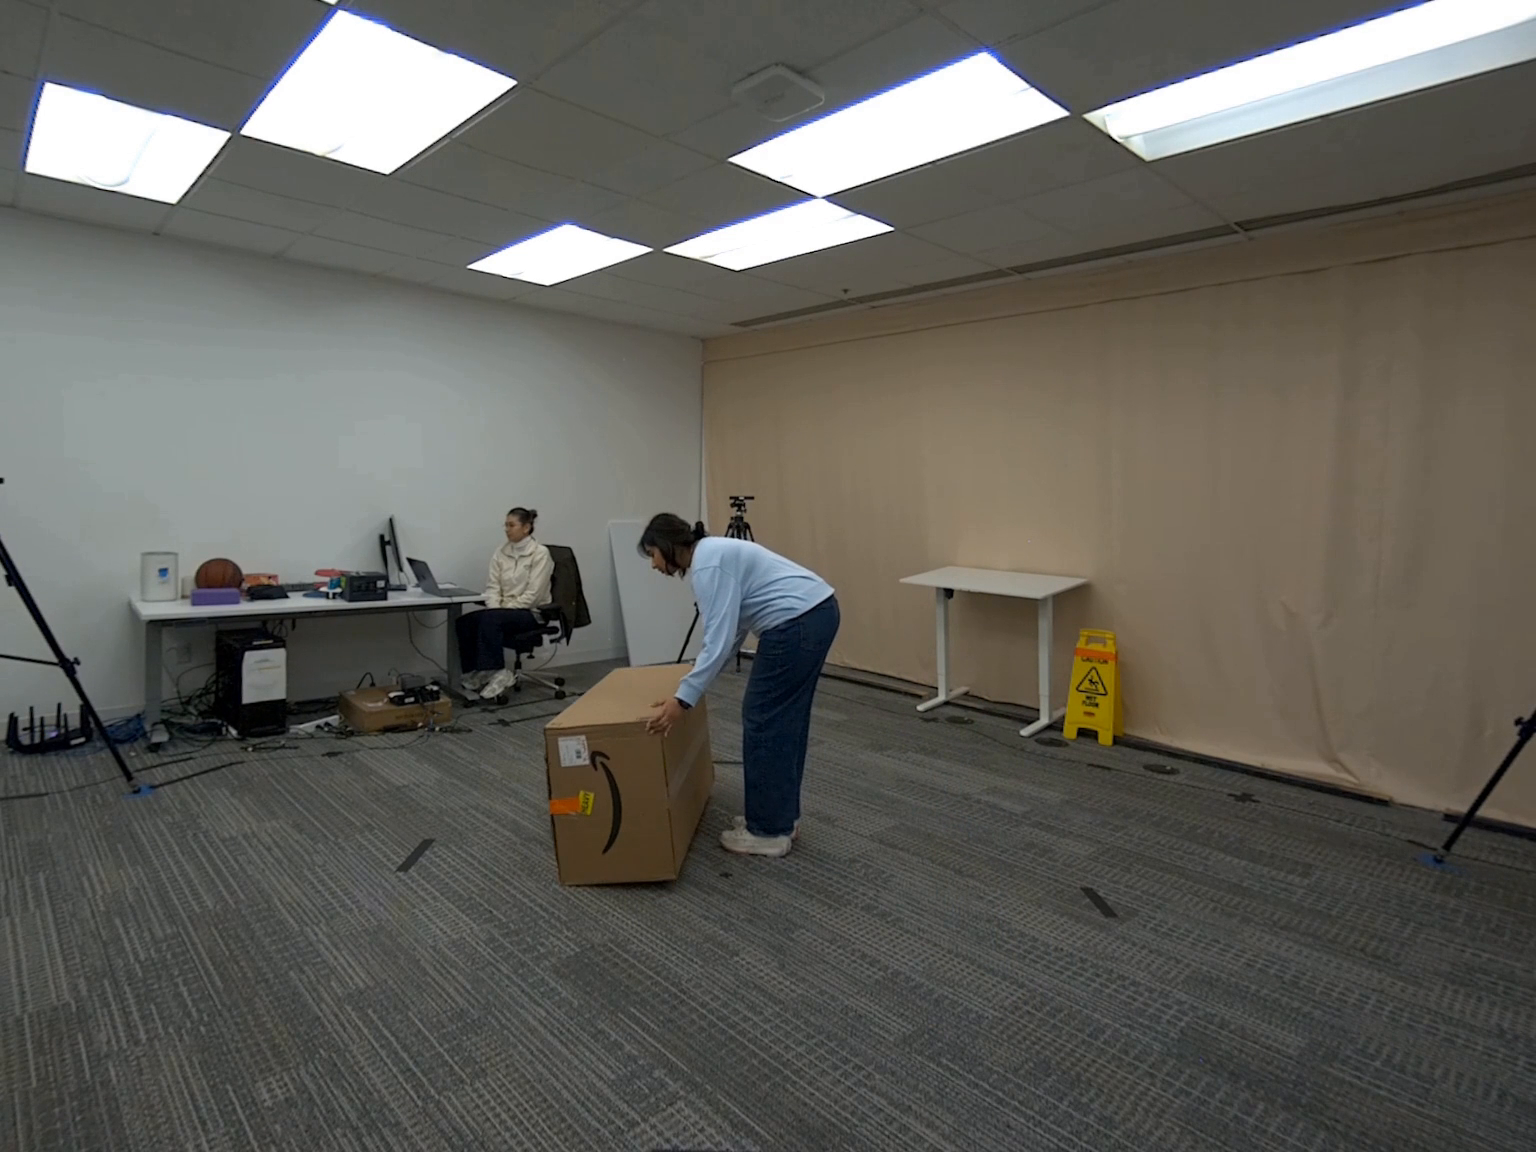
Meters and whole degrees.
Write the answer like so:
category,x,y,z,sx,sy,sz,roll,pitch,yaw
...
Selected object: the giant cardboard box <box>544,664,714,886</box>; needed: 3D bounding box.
category,x,y,z,sx,sy,sz,roll,pitch,yaw
giant cardboard box,-0.534,0.751,3.465,0.428,0.576,1.024,-5,4,5
